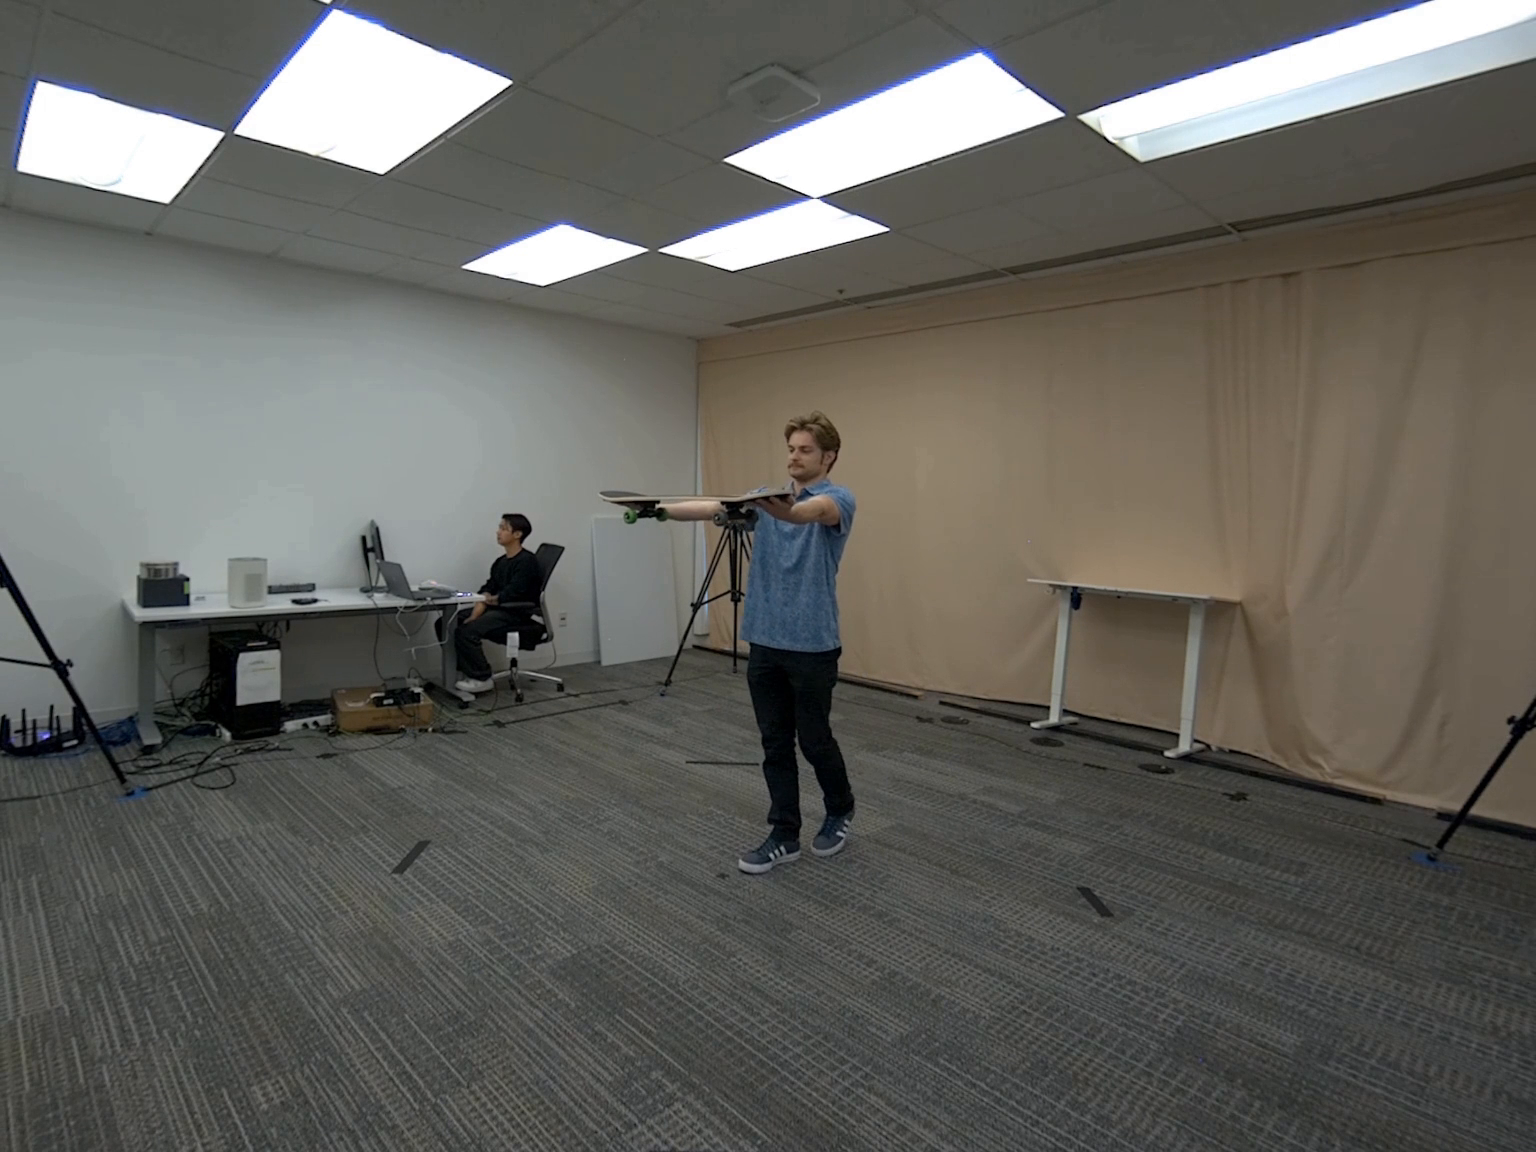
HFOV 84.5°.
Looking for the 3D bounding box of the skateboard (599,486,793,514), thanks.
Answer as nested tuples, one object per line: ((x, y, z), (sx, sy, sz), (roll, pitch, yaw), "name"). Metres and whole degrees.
((-0.261, -0.221, 2.760), (0.805, 0.110, 0.189), (4, 6, 39), "skateboard")
